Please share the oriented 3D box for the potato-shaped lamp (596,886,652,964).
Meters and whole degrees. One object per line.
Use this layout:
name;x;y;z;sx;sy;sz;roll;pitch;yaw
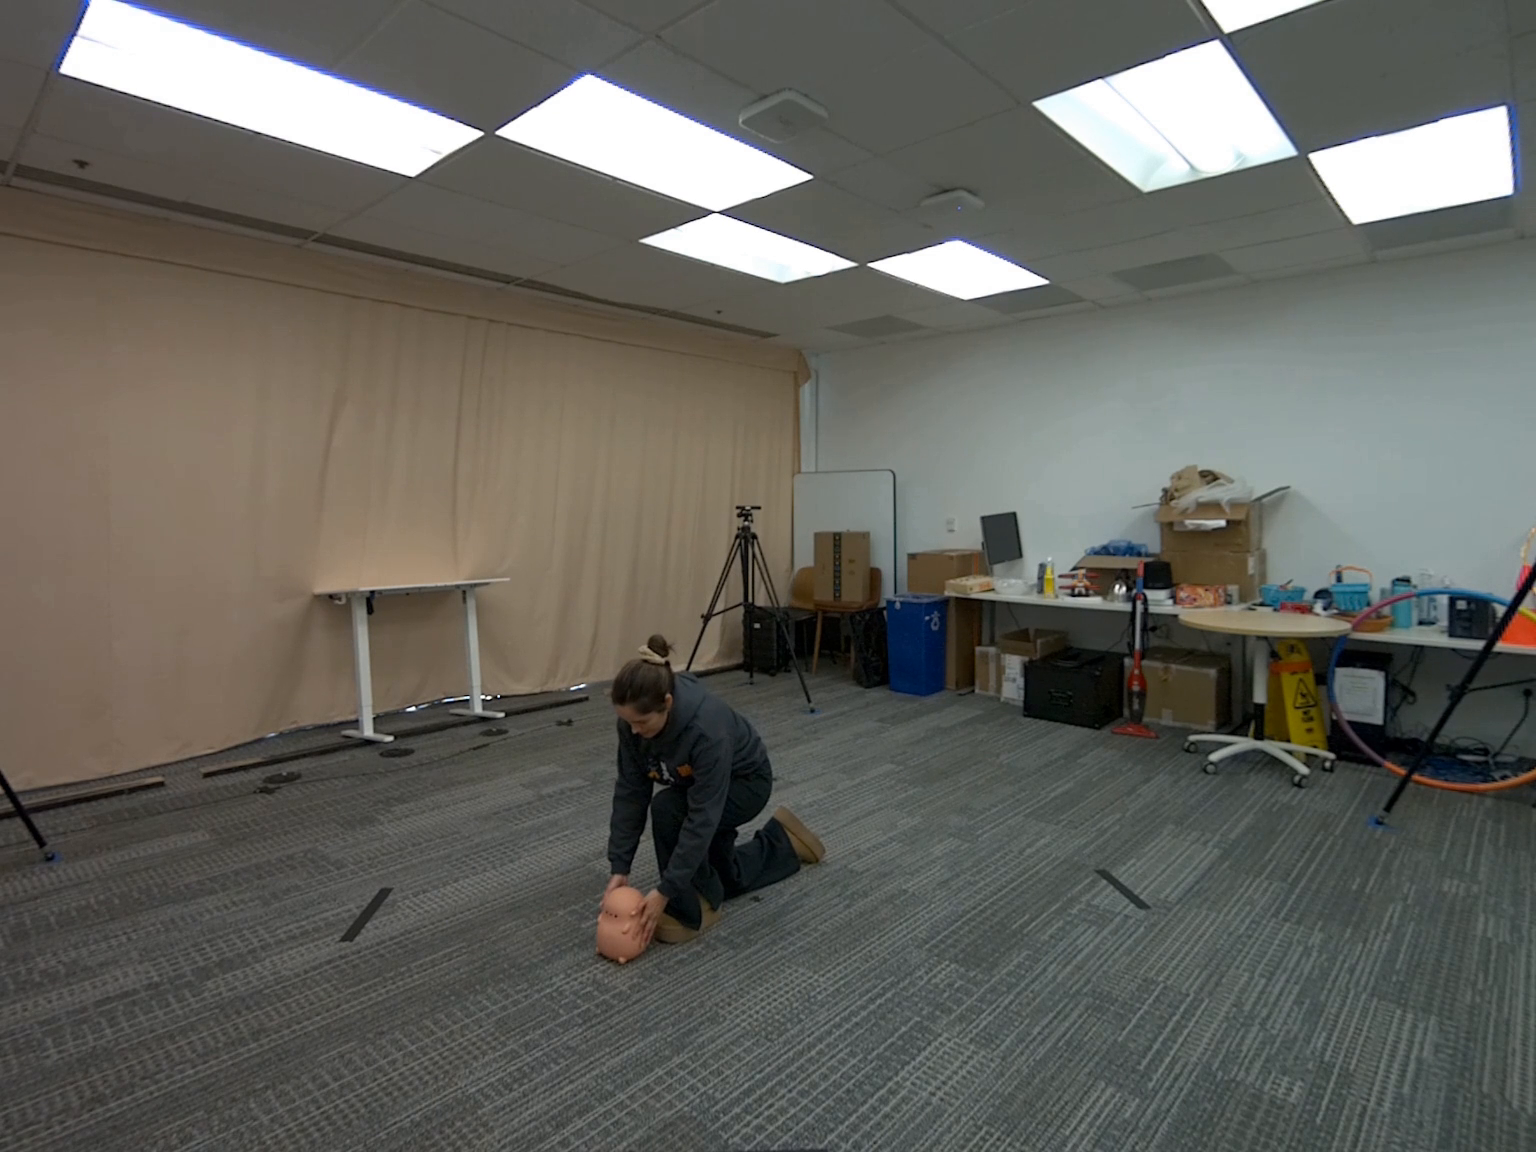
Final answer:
potato-shaped lamp;-0.431;1.079;2.639;0.170;0.198;0.166;1;-2;34
